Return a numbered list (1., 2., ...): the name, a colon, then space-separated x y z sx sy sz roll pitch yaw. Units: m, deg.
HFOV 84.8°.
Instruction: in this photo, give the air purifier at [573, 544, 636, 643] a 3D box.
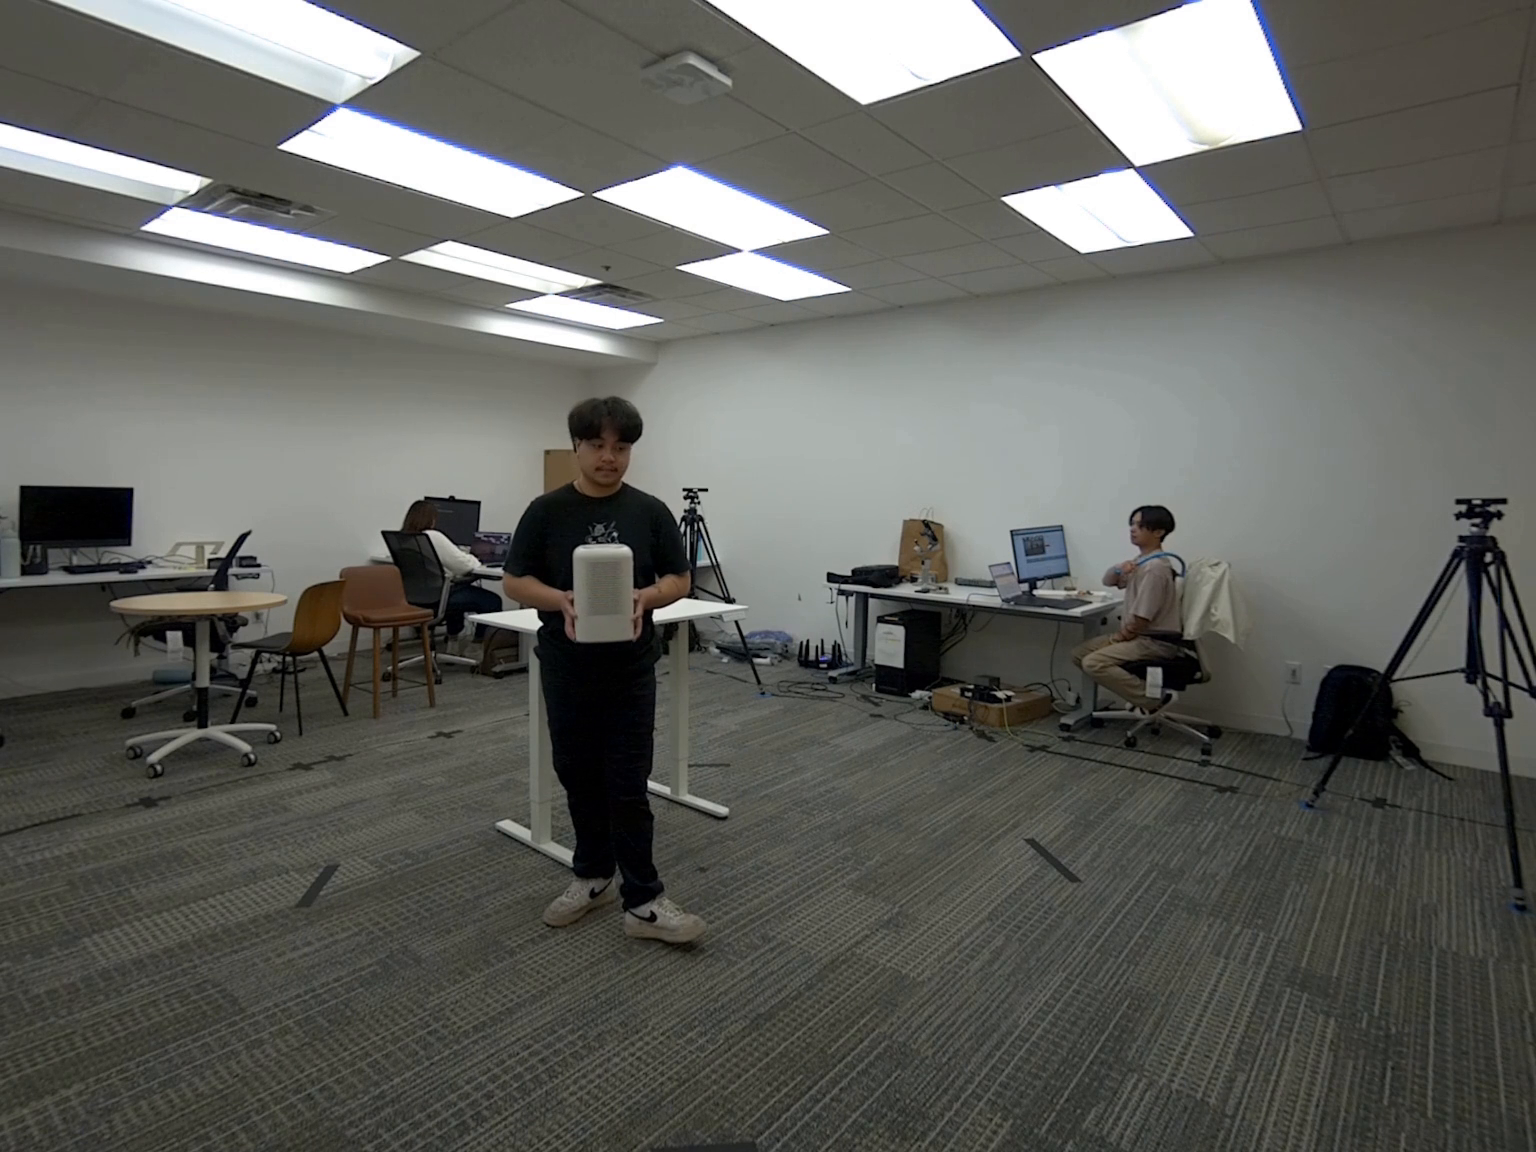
1. air purifier: -0.487 0.040 2.470 0.170 0.264 0.174 -1 5 -11
